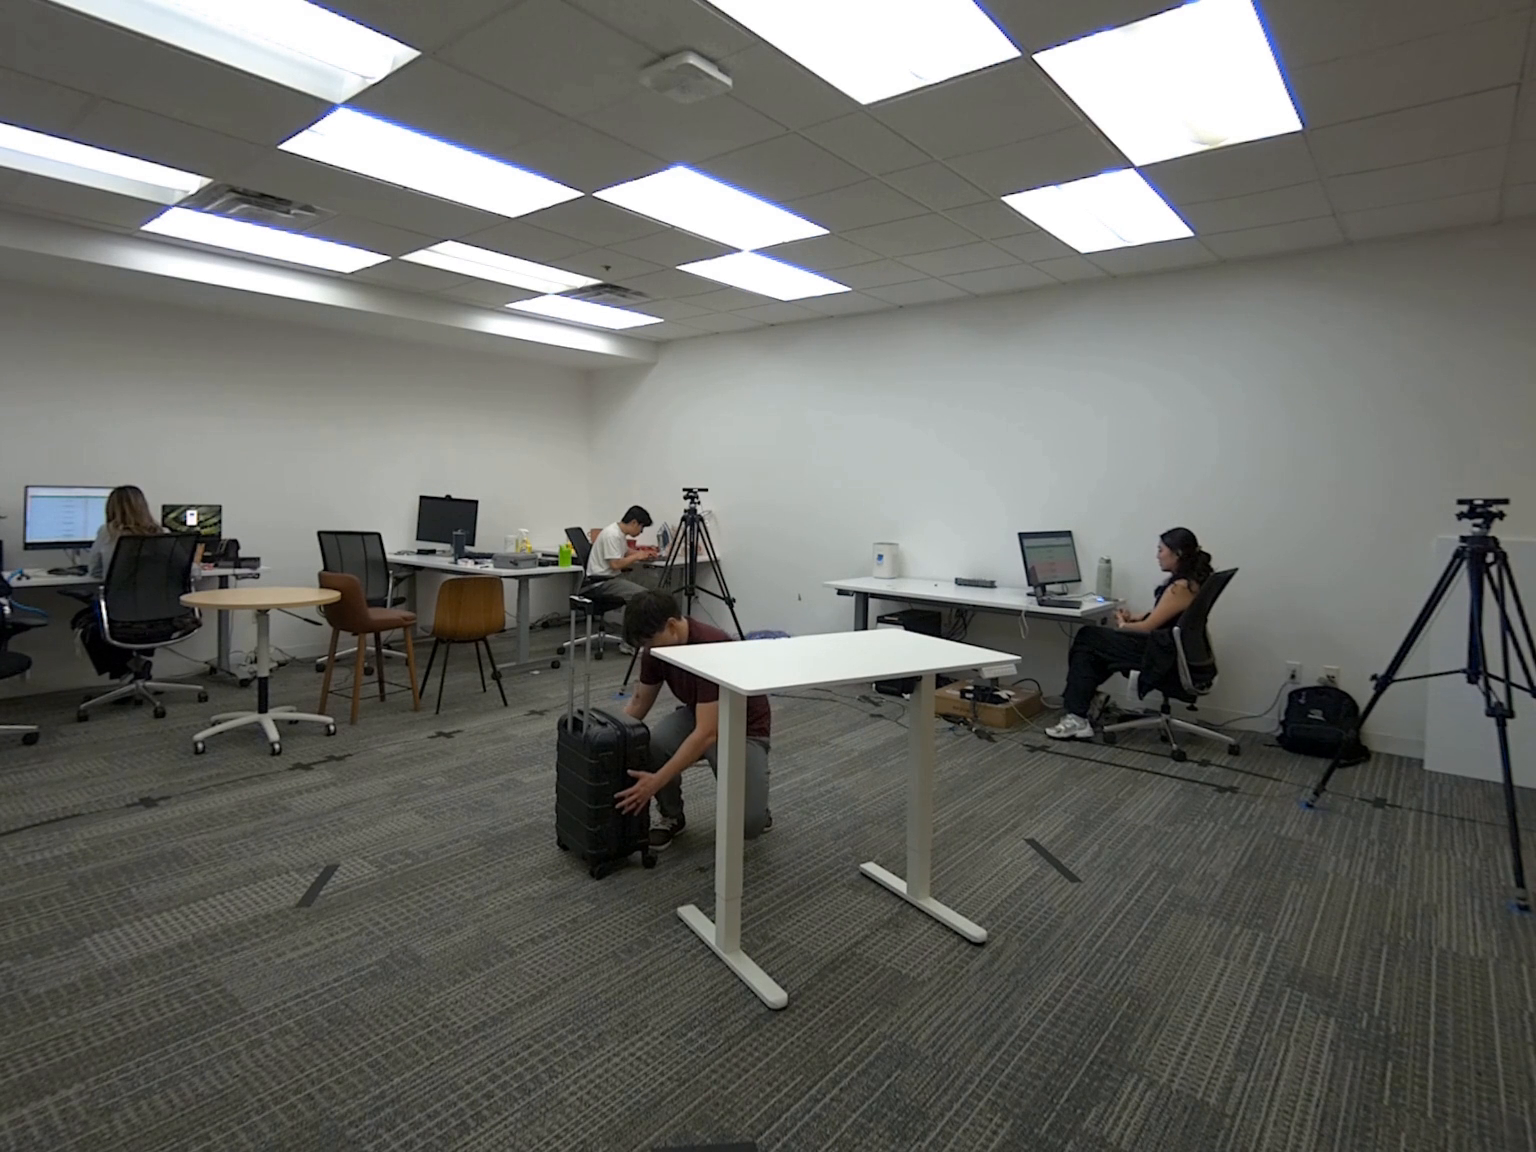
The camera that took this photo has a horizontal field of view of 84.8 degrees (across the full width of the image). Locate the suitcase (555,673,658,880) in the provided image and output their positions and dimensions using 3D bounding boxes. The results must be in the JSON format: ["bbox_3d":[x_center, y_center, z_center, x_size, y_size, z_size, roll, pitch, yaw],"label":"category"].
[{"bbox_3d":[-0.633,0.577,3.169,0.250,0.976,0.396,0,3,-31],"label":"suitcase"}]
